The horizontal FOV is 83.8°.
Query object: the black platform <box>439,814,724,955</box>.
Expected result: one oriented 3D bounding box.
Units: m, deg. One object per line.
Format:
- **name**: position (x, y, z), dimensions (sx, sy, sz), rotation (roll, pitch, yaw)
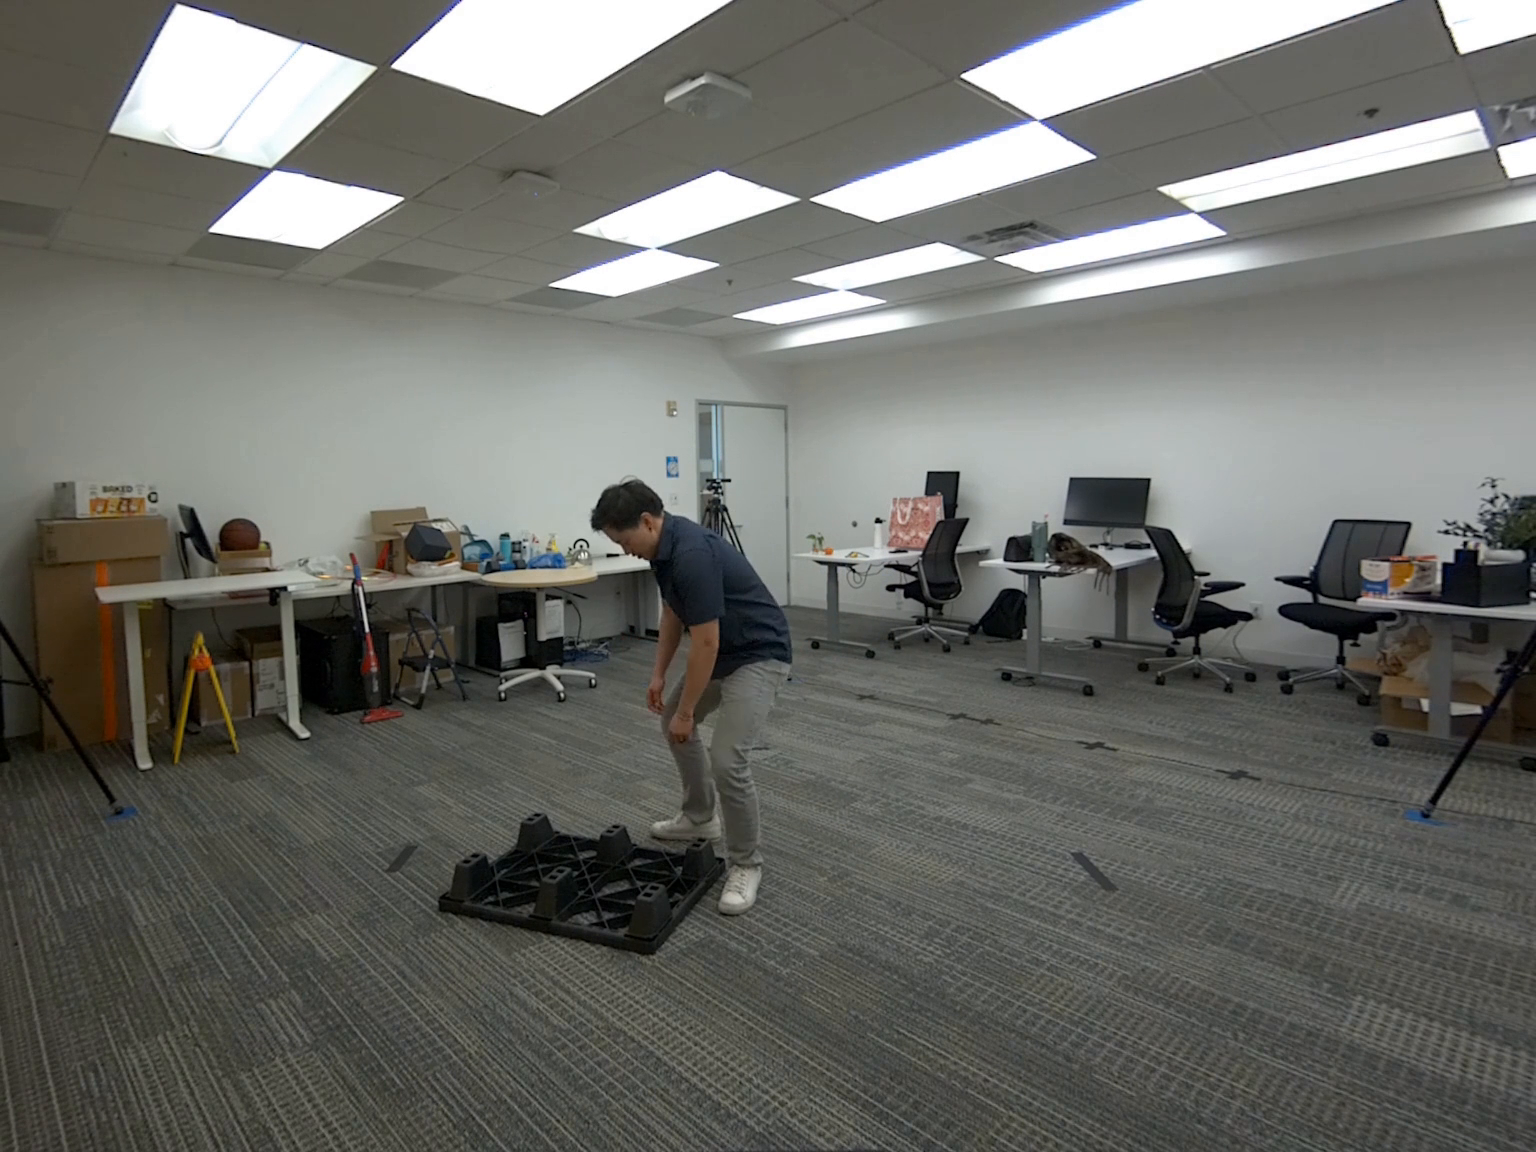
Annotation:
- **black platform**: position (-0.622, 1.010, 2.929), dimensions (0.821, 0.143, 0.596), rotation (1, 7, 21)
